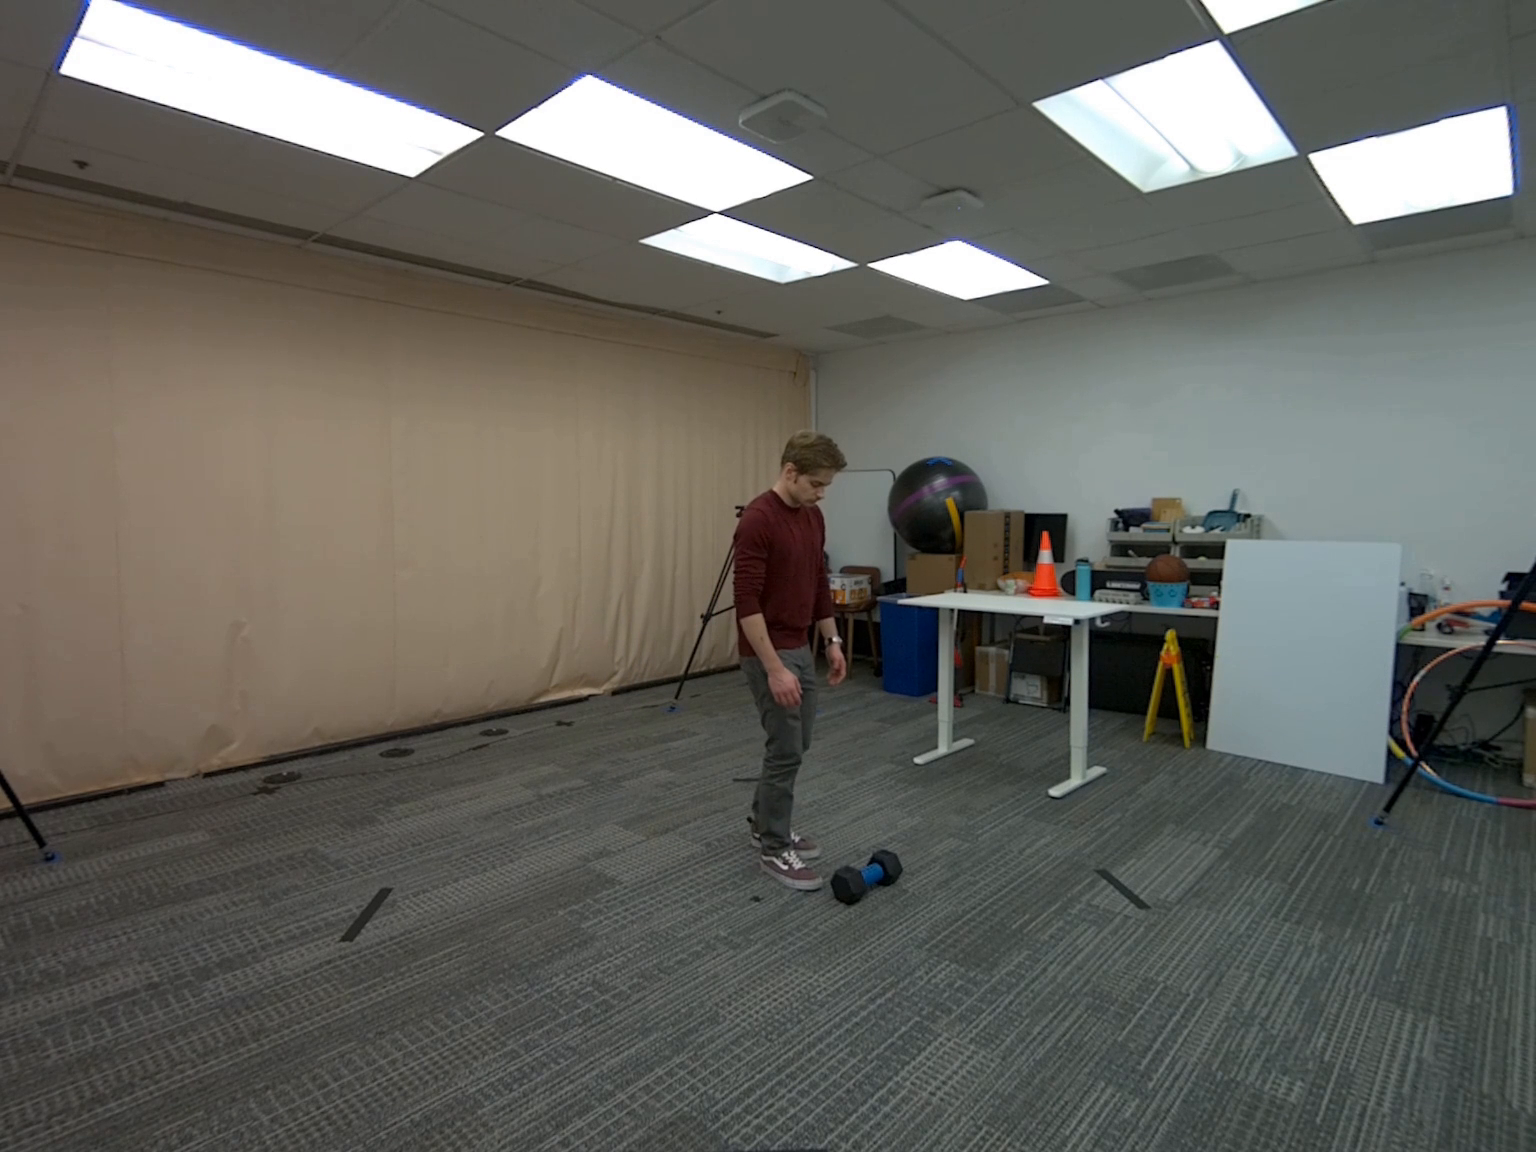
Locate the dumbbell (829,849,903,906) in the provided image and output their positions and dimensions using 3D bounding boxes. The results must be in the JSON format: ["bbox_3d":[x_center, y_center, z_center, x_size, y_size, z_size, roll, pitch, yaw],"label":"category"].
[{"bbox_3d":[0.362,1.085,3.041,0.285,0.122,0.112,-5,36,-42],"label":"dumbbell"}]
